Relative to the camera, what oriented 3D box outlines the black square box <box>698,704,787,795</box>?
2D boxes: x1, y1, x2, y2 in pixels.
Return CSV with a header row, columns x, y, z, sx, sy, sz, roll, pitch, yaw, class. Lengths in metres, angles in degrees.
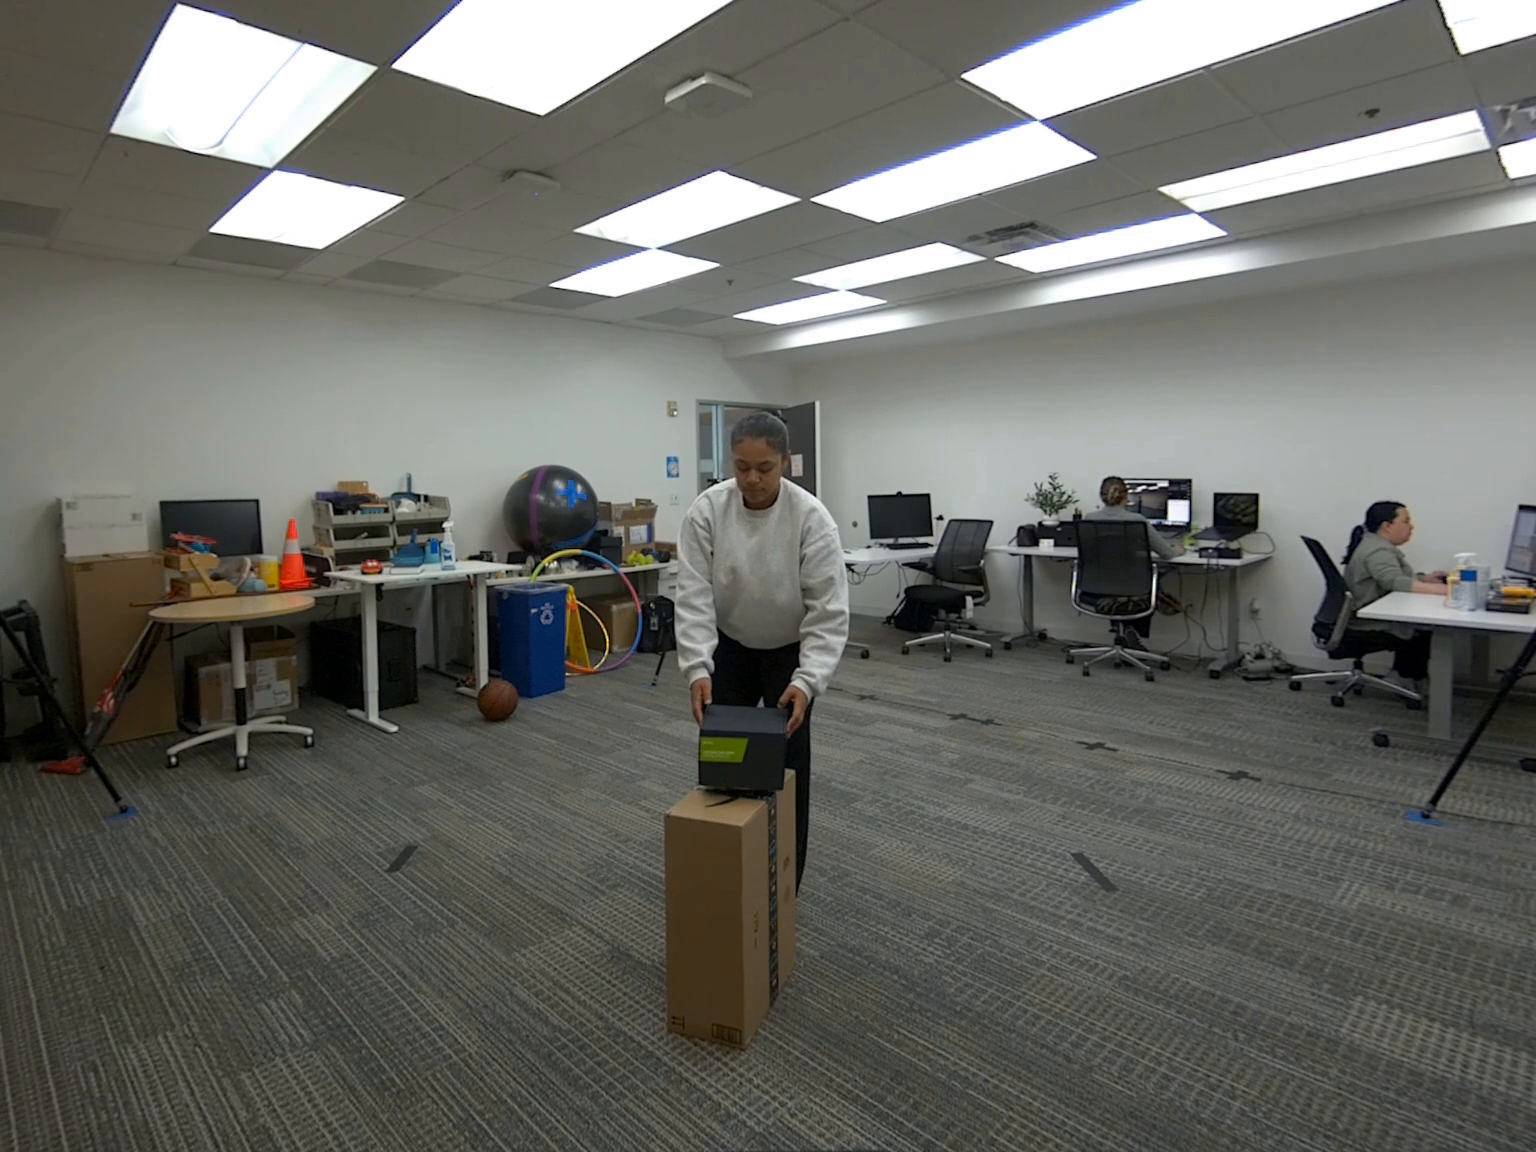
x,y,z,sx,sy,sz,roll,pitch,yaw,class
-0.057,0.463,2.339,0.229,0.155,0.217,-1,8,4,black square box
